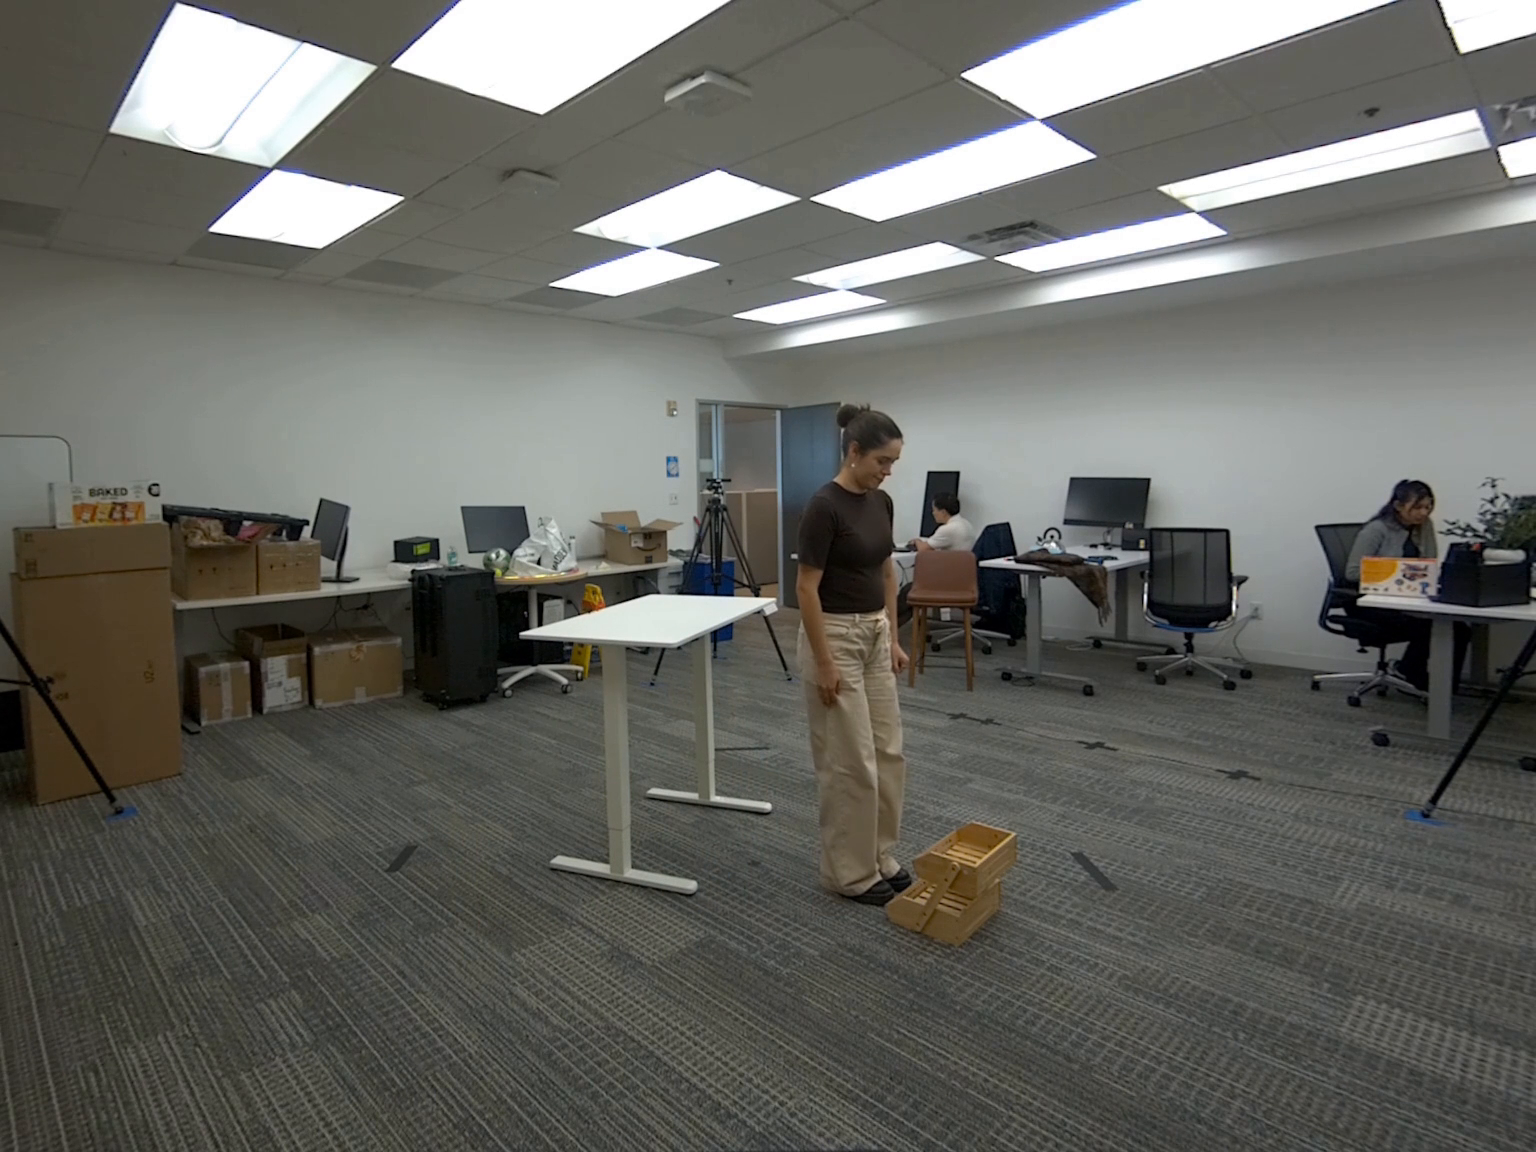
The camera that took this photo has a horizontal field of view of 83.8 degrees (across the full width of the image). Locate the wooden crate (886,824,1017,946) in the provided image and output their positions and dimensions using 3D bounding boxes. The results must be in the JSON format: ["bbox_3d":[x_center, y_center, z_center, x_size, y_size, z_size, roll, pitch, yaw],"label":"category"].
[{"bbox_3d":[0.582,0.945,2.695,0.311,0.272,0.316,4,8,39],"label":"wooden crate"}]
